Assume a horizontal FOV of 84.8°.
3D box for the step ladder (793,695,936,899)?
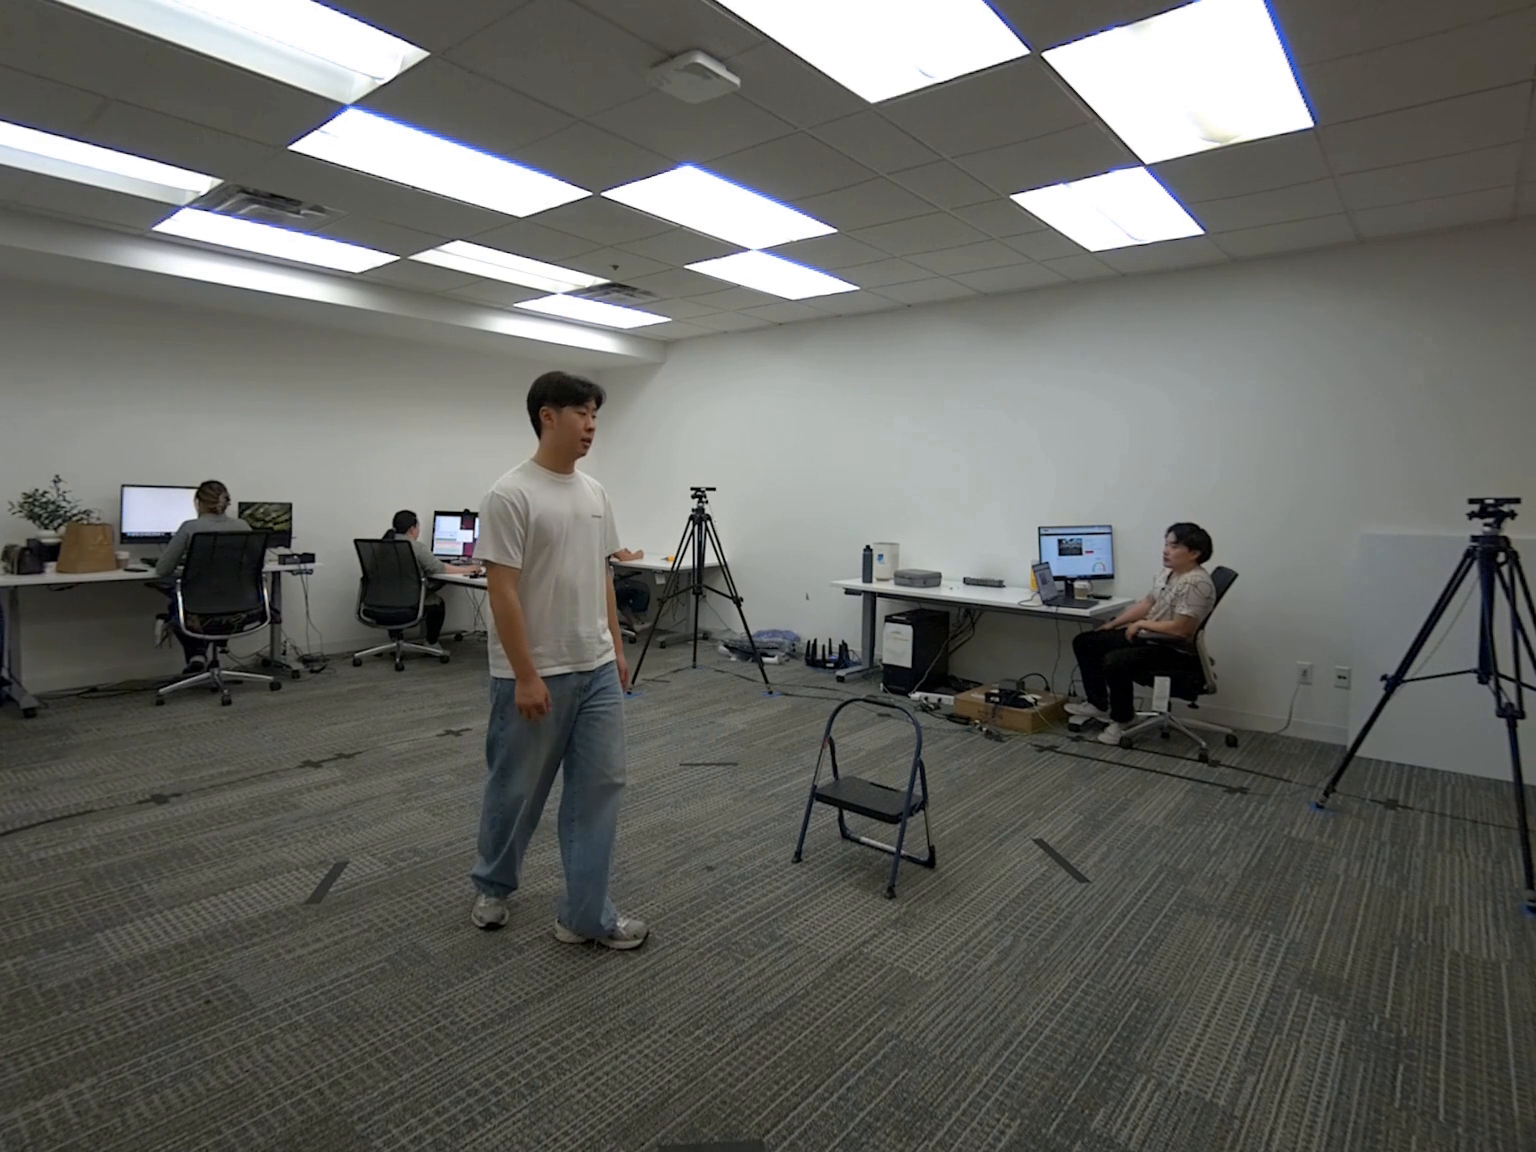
[{"bbox_3d":[0.359,0.768,3.156,0.445,0.604,0.339,5,5,39],"label":"step ladder"}]
